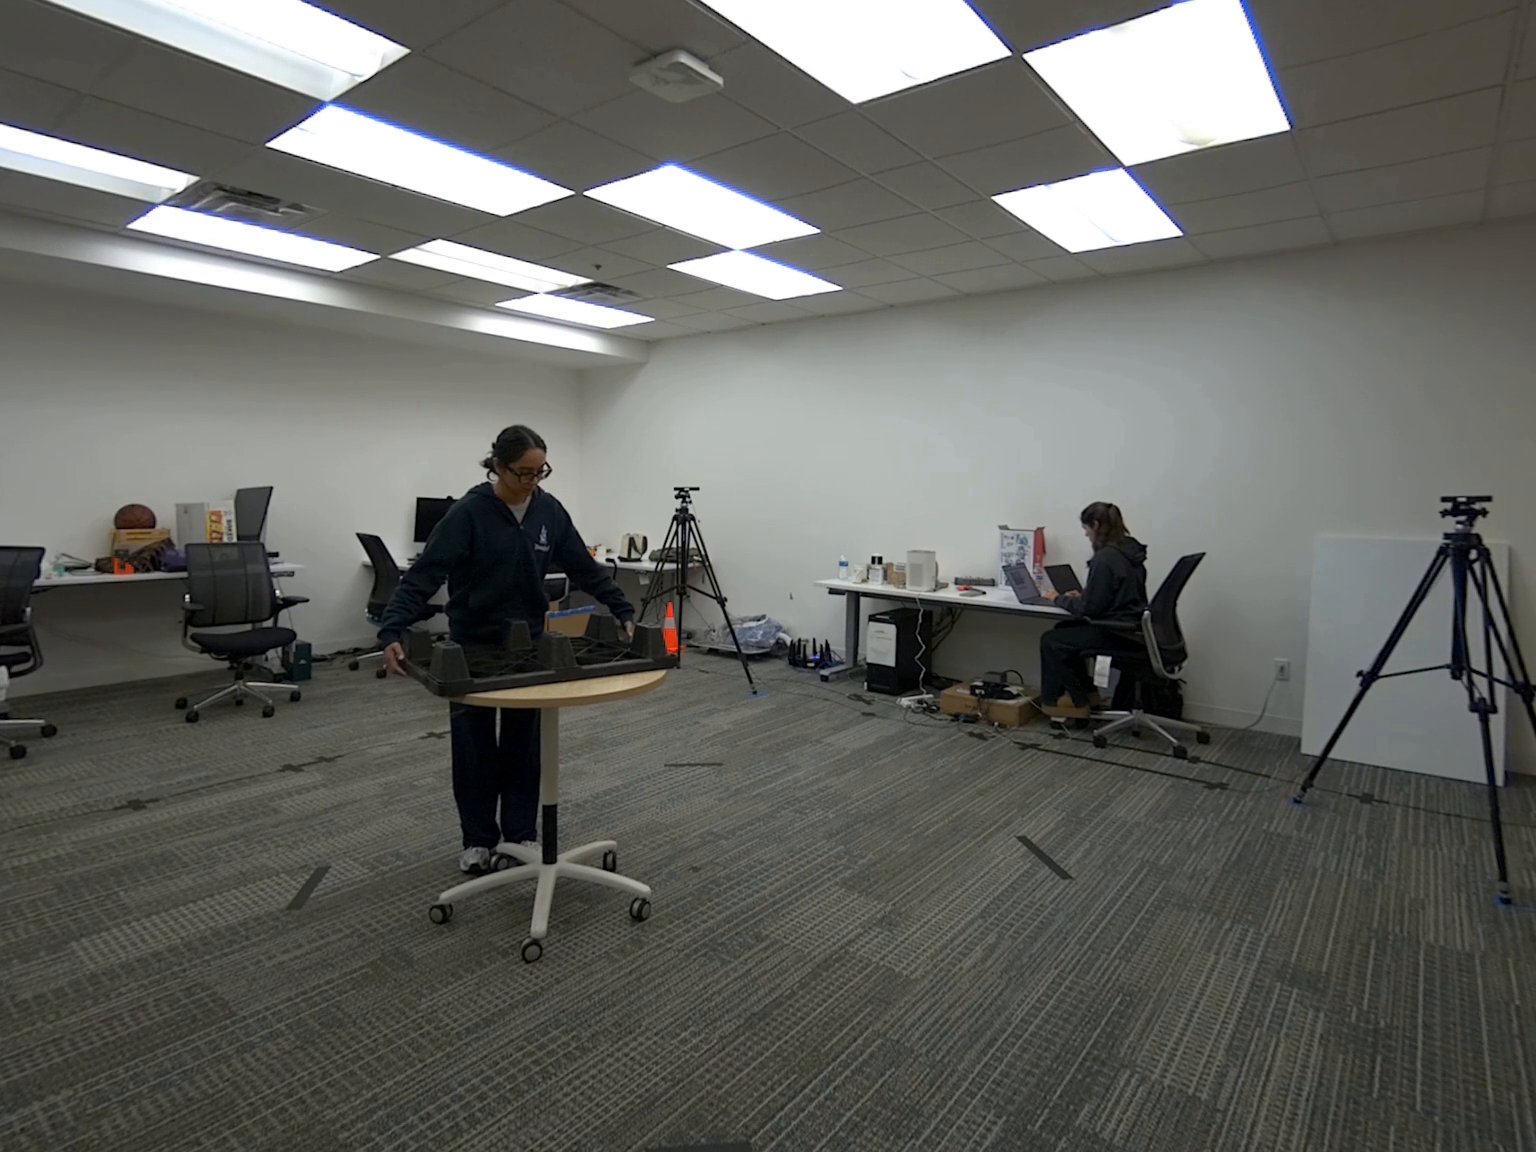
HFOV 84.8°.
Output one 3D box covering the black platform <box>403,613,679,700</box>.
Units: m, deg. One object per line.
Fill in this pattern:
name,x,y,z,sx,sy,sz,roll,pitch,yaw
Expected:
black platform,-0.793,0.240,2.872,0.783,0.143,0.624,-3,6,-34
